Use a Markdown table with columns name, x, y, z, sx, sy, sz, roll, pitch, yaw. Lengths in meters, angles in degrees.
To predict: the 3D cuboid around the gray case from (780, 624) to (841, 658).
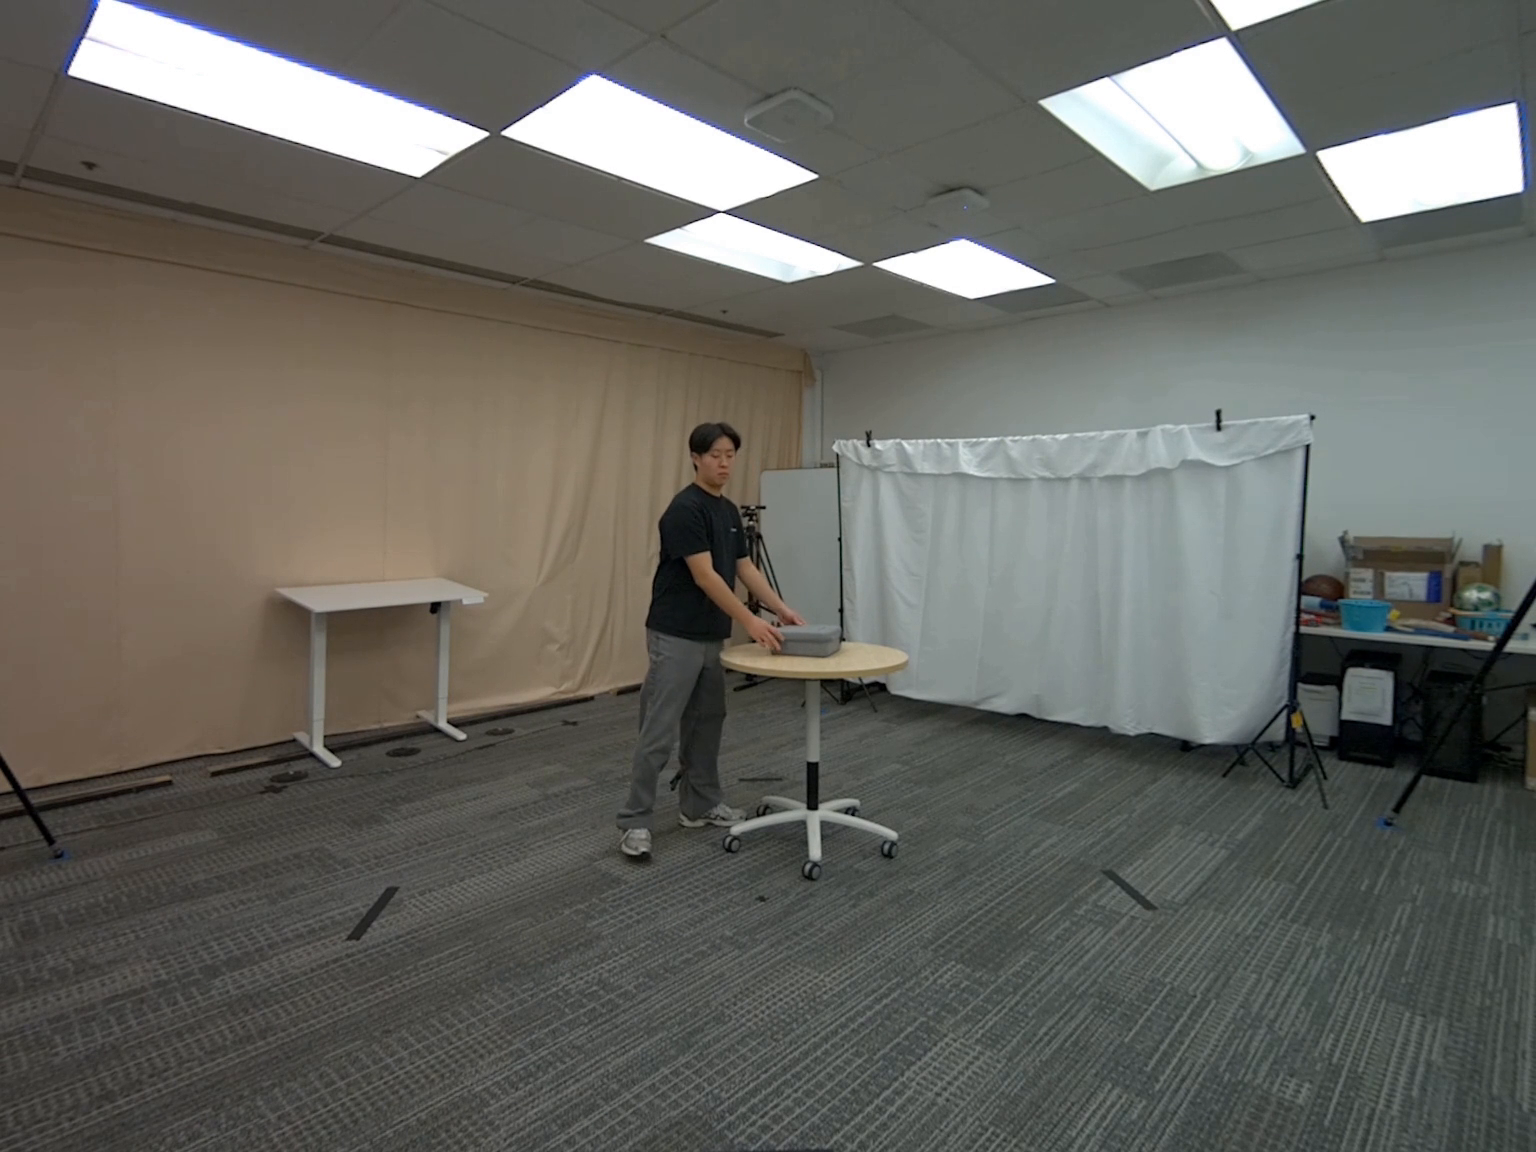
| name | x | y | z | sx | sy | sz | roll | pitch | yaw |
| --- | --- | --- | --- | --- | --- | --- | --- | --- | --- |
| gray case | 0.156 | 0.269 | 3.505 | 0.294 | 0.103 | 0.257 | 0 | 3 | 22 |
